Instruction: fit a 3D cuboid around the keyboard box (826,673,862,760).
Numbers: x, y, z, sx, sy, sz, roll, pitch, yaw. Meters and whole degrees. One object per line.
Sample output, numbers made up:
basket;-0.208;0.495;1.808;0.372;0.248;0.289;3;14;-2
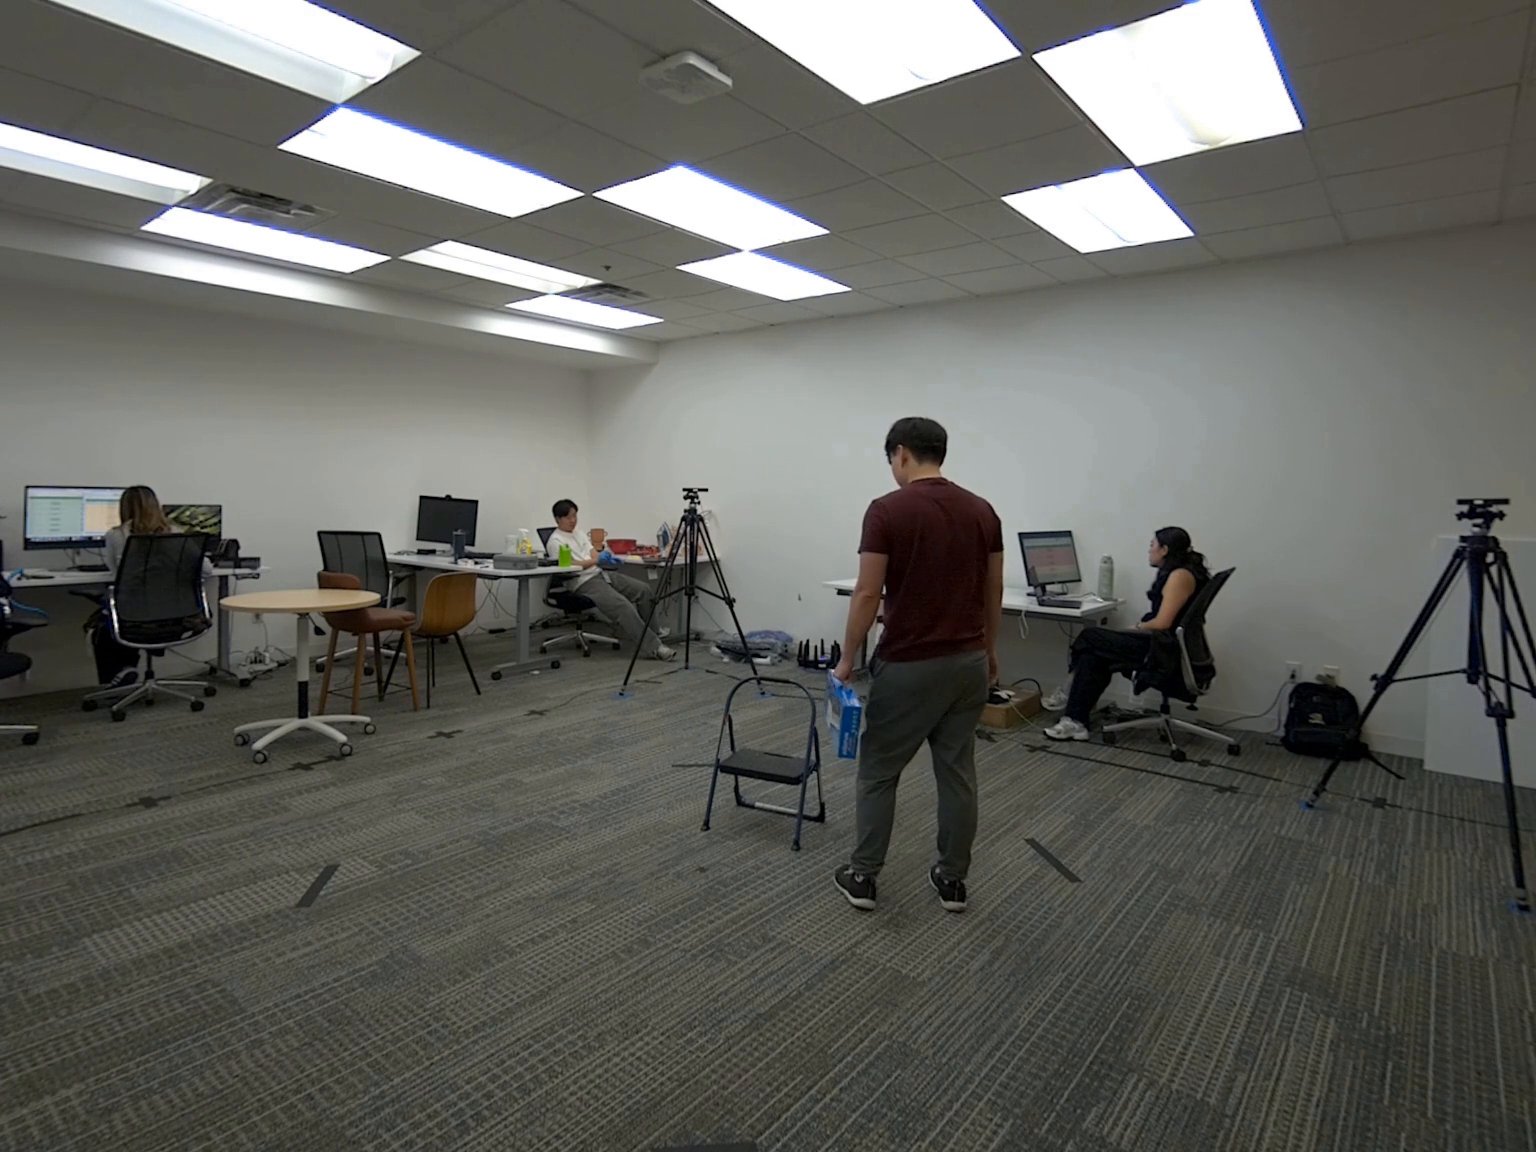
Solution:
keyboard box;0.244;0.455;2.898;0.059;0.175;0.440;4;9;-3
